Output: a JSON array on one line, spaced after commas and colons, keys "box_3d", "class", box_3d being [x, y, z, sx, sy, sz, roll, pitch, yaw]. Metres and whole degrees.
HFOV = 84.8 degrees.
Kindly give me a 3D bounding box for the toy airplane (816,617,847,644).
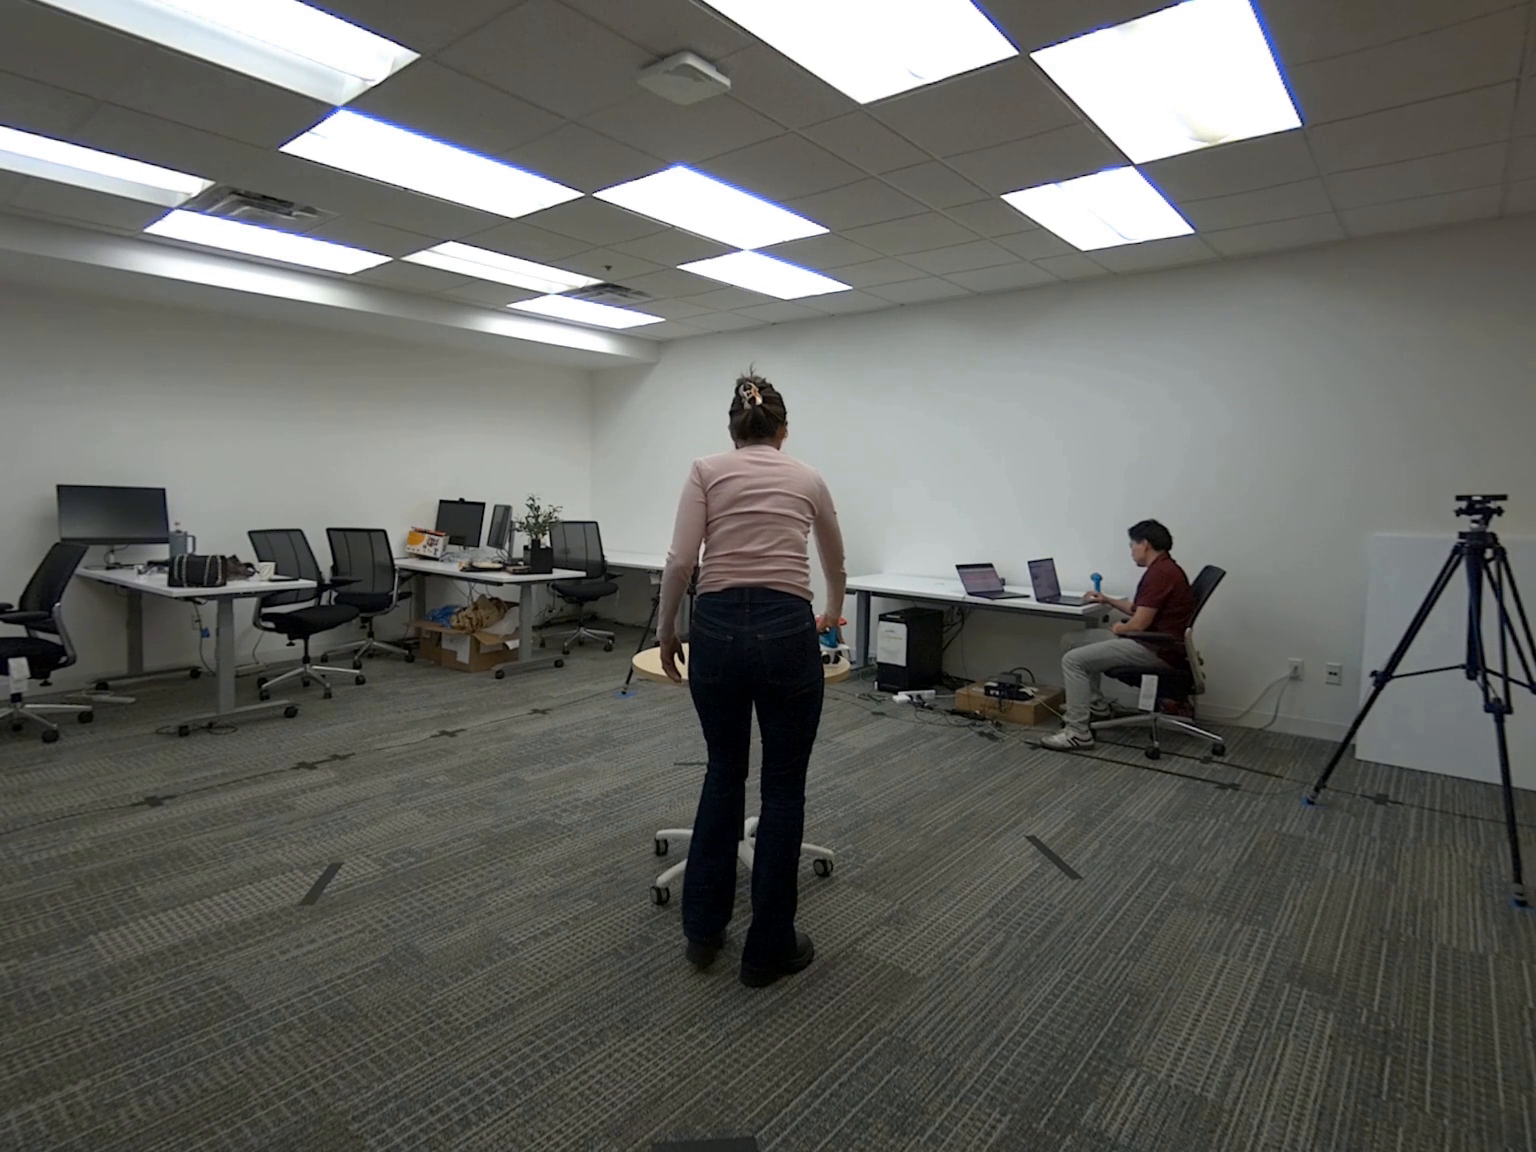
[{"box_3d": [0.176, 0.217, 2.995, 0.267, 0.156, 0.243, 1, 1, 41], "class": "toy airplane"}]
